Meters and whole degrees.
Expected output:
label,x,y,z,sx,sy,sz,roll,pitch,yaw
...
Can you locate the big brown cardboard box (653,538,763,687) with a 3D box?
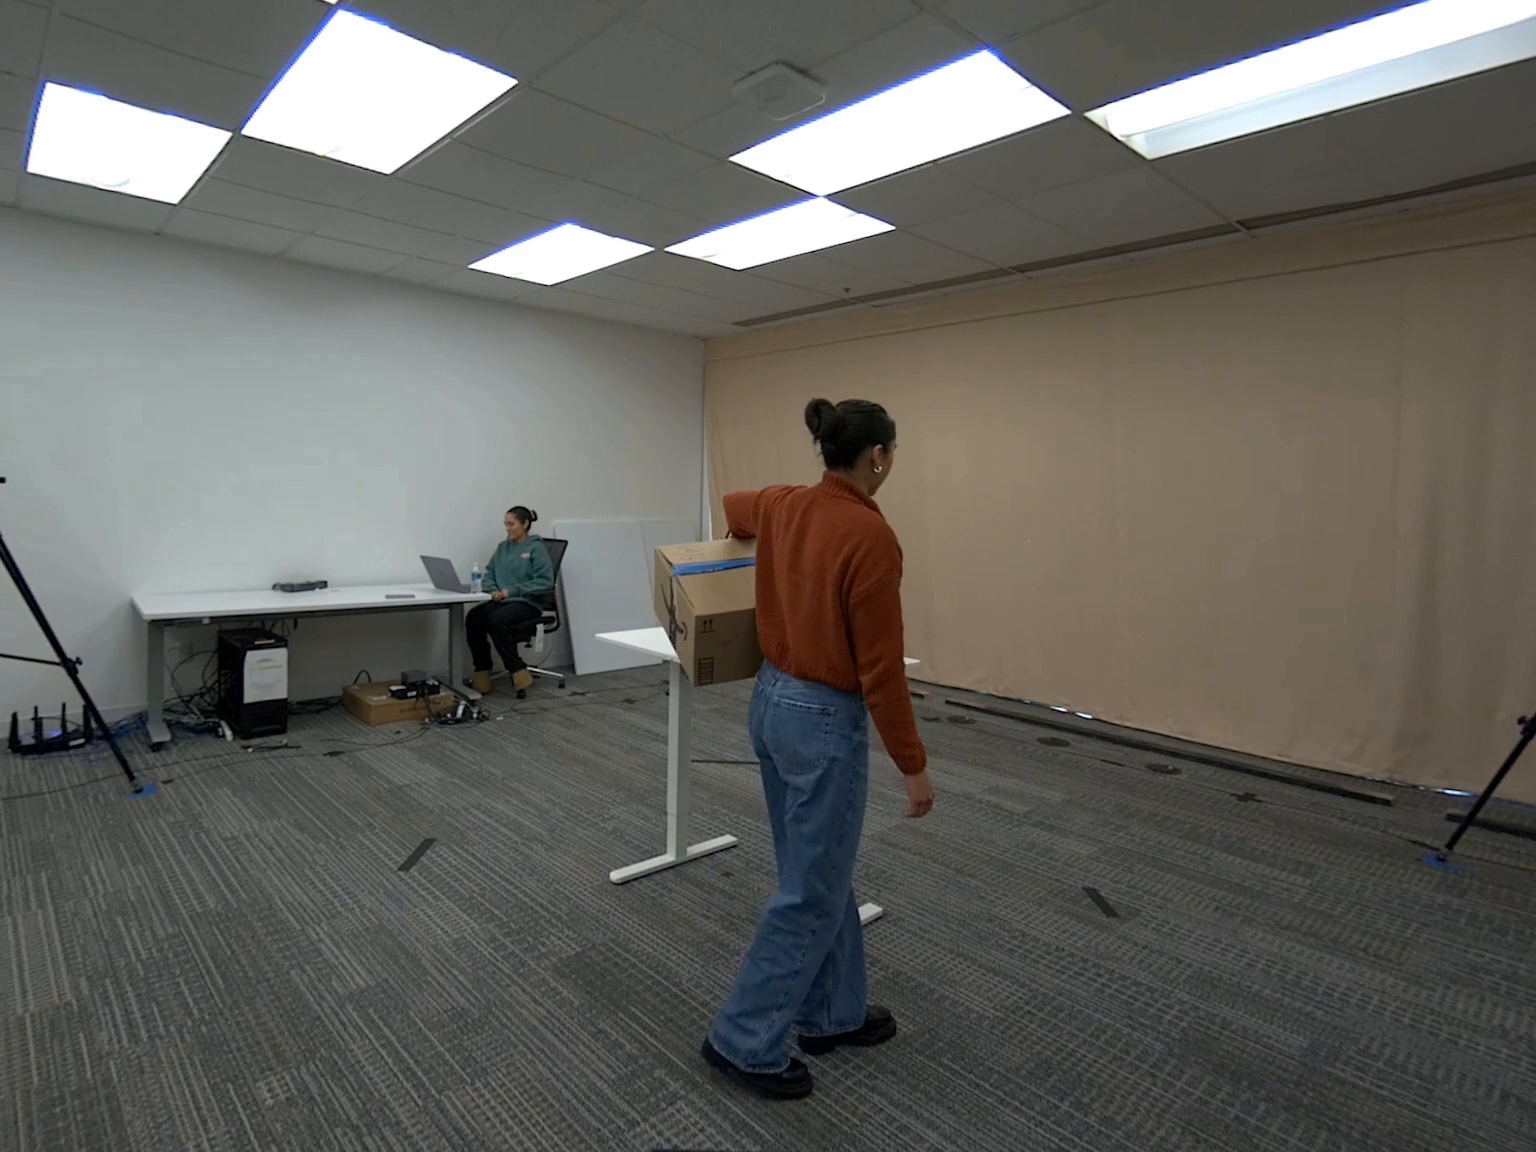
label,x,y,z,sx,sy,sz,roll,pitch,yaw
big brown cardboard box,0.005,0.066,2.366,0.581,0.229,0.430,-8,28,-20
